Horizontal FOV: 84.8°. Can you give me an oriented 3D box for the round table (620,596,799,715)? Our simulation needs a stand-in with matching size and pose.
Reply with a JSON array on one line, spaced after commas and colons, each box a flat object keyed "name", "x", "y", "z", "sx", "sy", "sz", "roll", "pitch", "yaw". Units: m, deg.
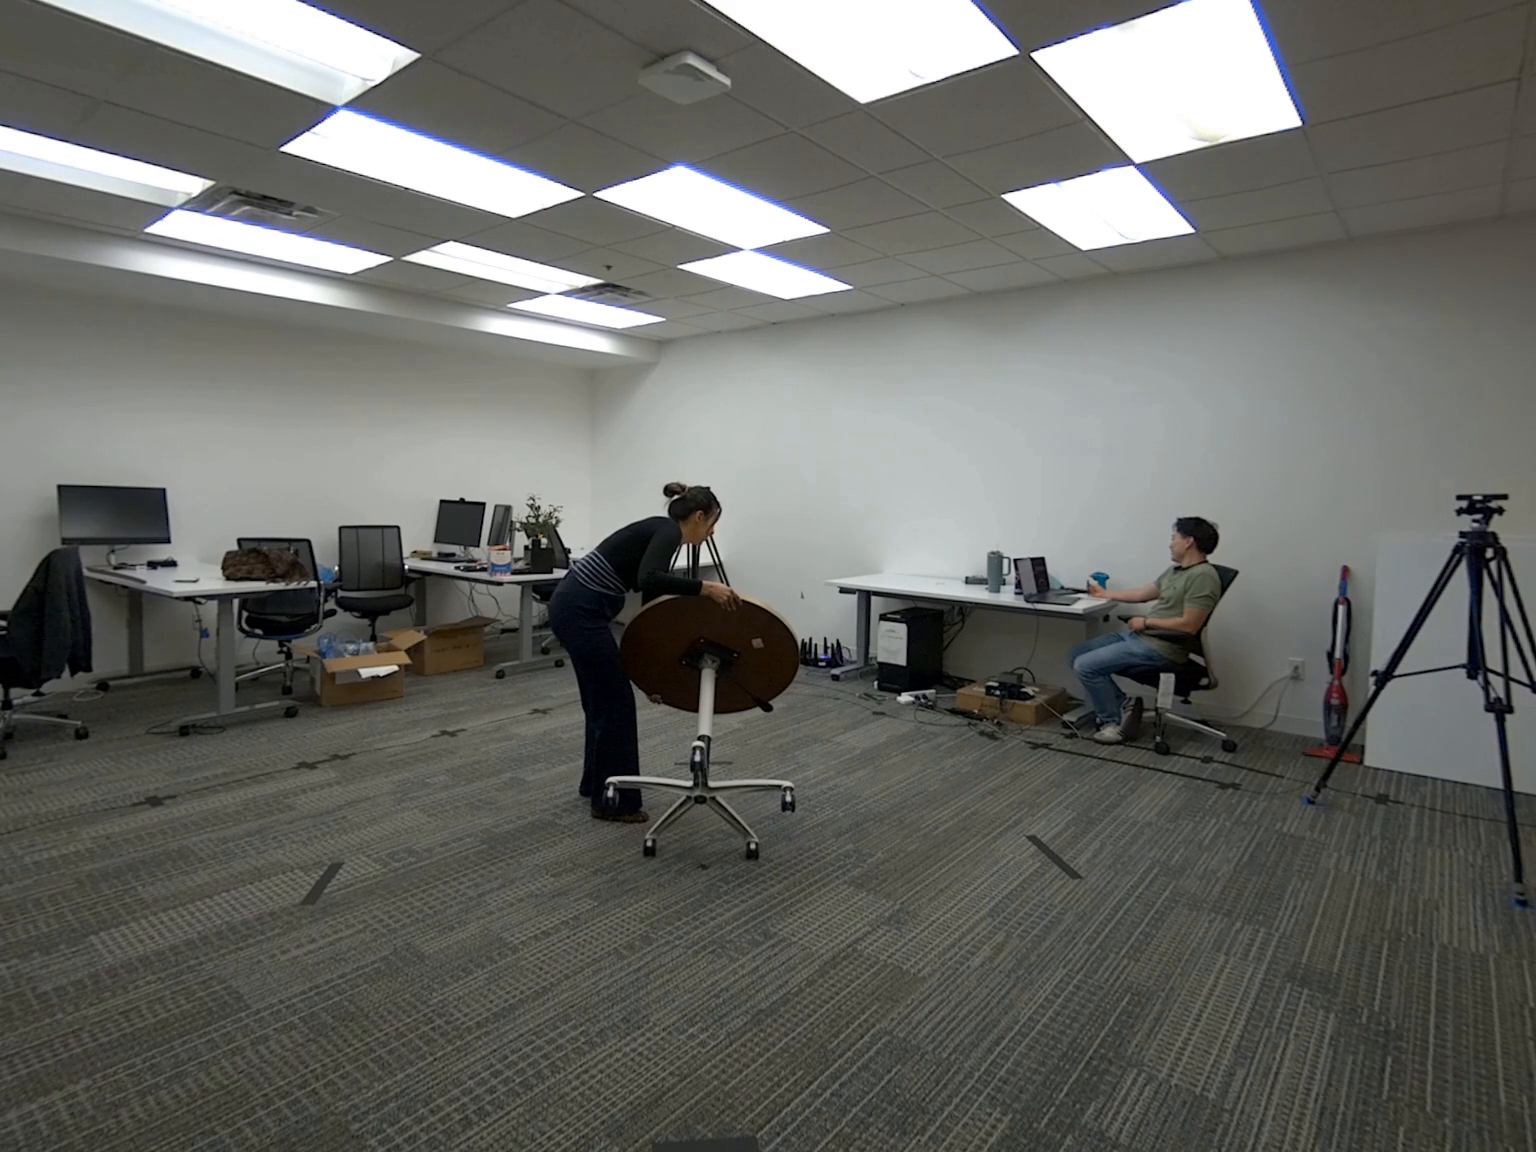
[{"name": "round table", "x": -0.259, "y": 0.595, "z": 3.312, "sx": 0.766, "sy": 0.742, "sz": 0.815, "roll": 1, "pitch": 42, "yaw": 1}]
